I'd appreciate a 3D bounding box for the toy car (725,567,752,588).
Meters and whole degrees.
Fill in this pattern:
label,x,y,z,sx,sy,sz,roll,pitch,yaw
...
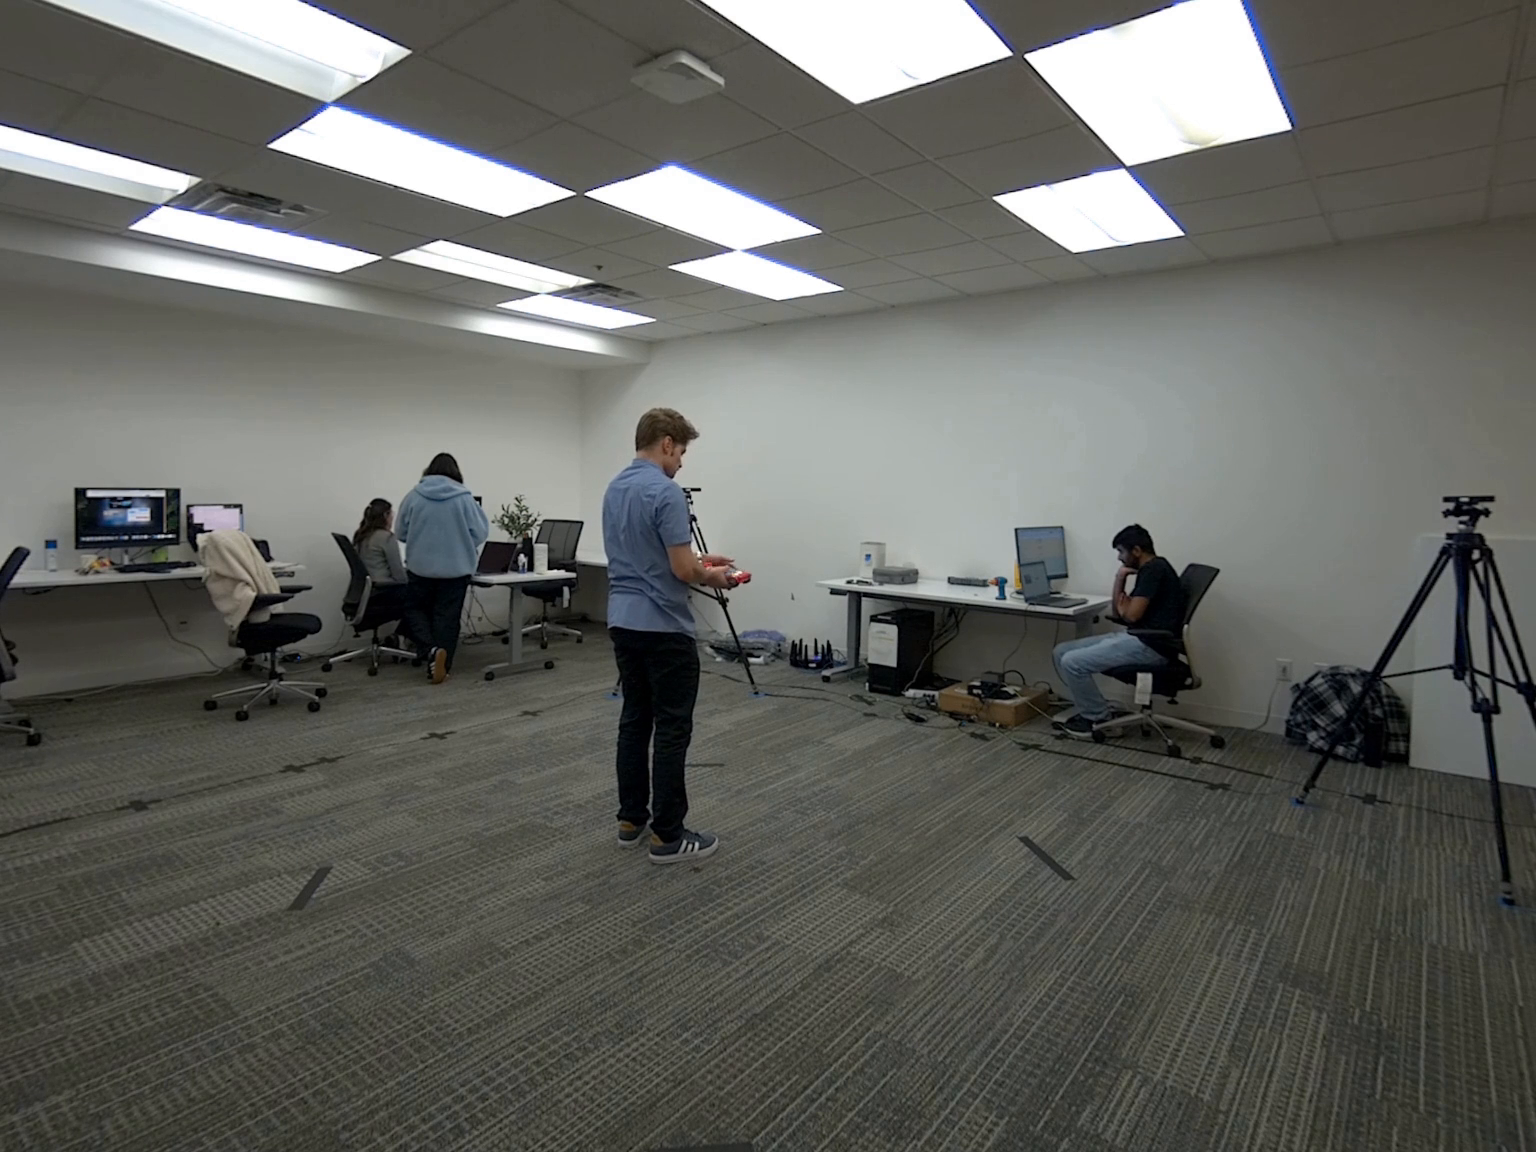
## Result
label,x,y,z,sx,sy,sz,roll,pitch,yaw
toy car,-0.212,0.006,3.492,0.263,0.082,0.127,14,17,33
